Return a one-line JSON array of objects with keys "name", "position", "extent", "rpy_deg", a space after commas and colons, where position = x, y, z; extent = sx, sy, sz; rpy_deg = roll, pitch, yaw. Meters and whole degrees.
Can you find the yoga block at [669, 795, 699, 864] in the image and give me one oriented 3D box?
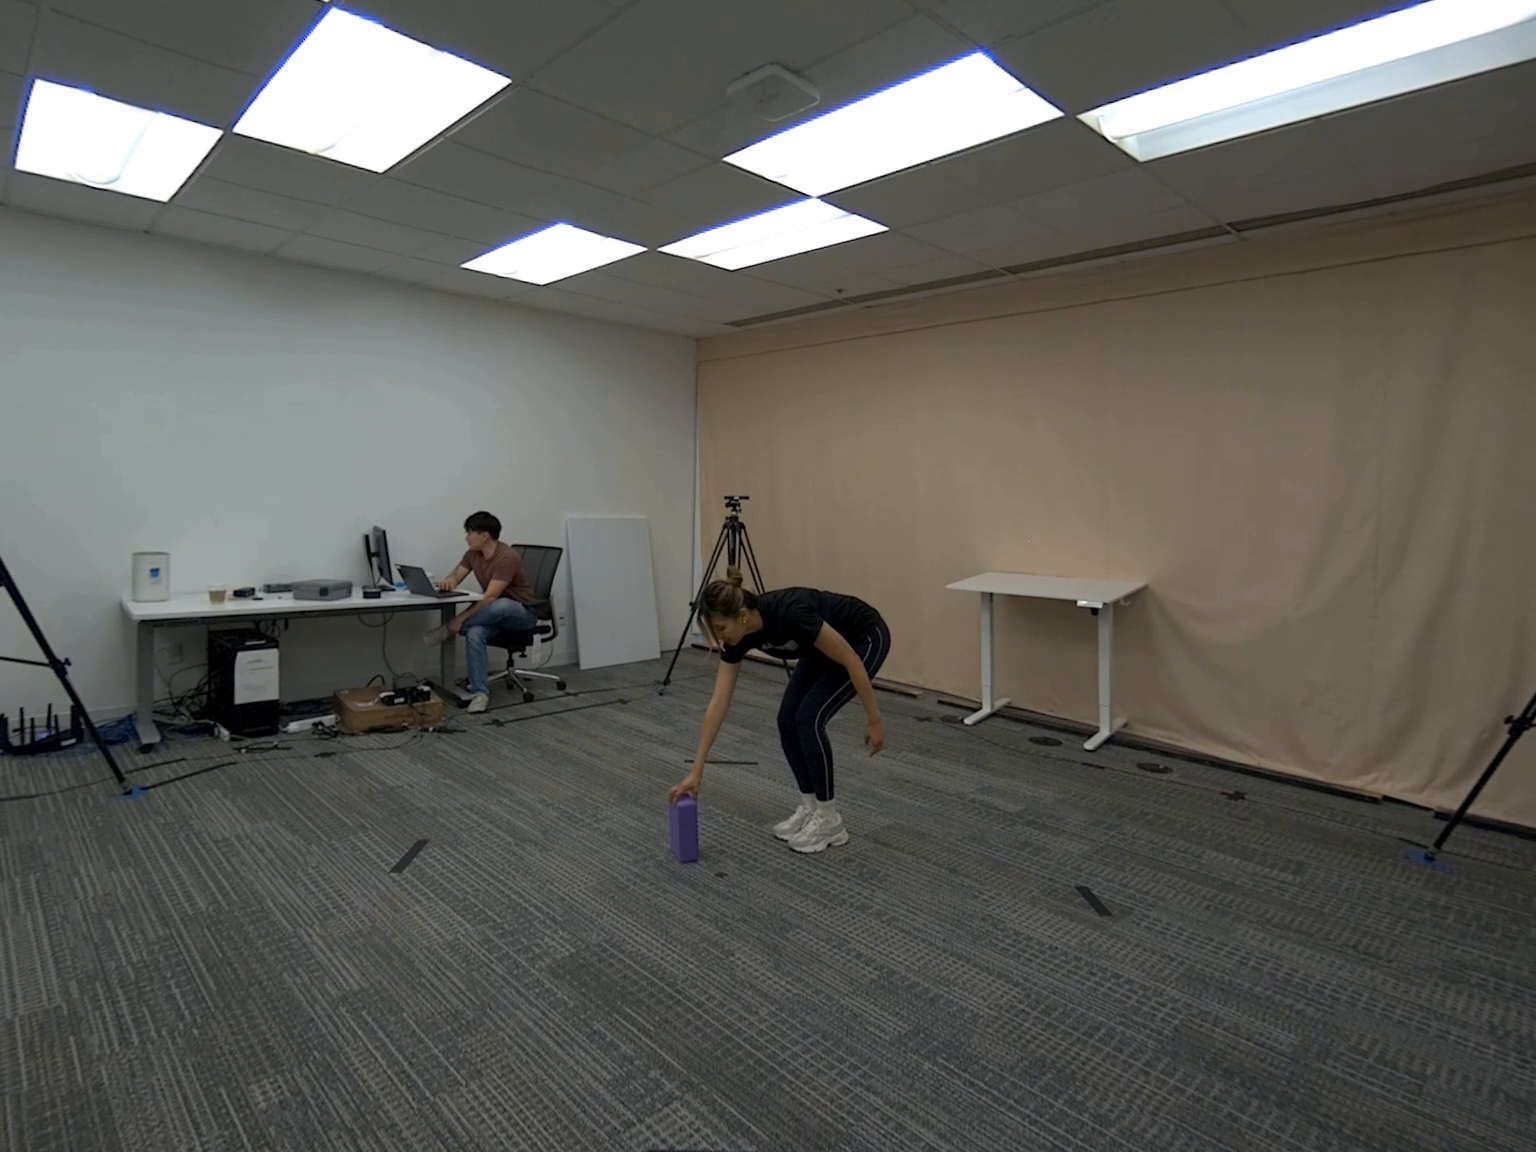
[{"name": "yoga block", "position": [-0.335, 0.968, 3.258], "extent": [0.075, 0.228, 0.151], "rpy_deg": [-3, 5, -20]}]
